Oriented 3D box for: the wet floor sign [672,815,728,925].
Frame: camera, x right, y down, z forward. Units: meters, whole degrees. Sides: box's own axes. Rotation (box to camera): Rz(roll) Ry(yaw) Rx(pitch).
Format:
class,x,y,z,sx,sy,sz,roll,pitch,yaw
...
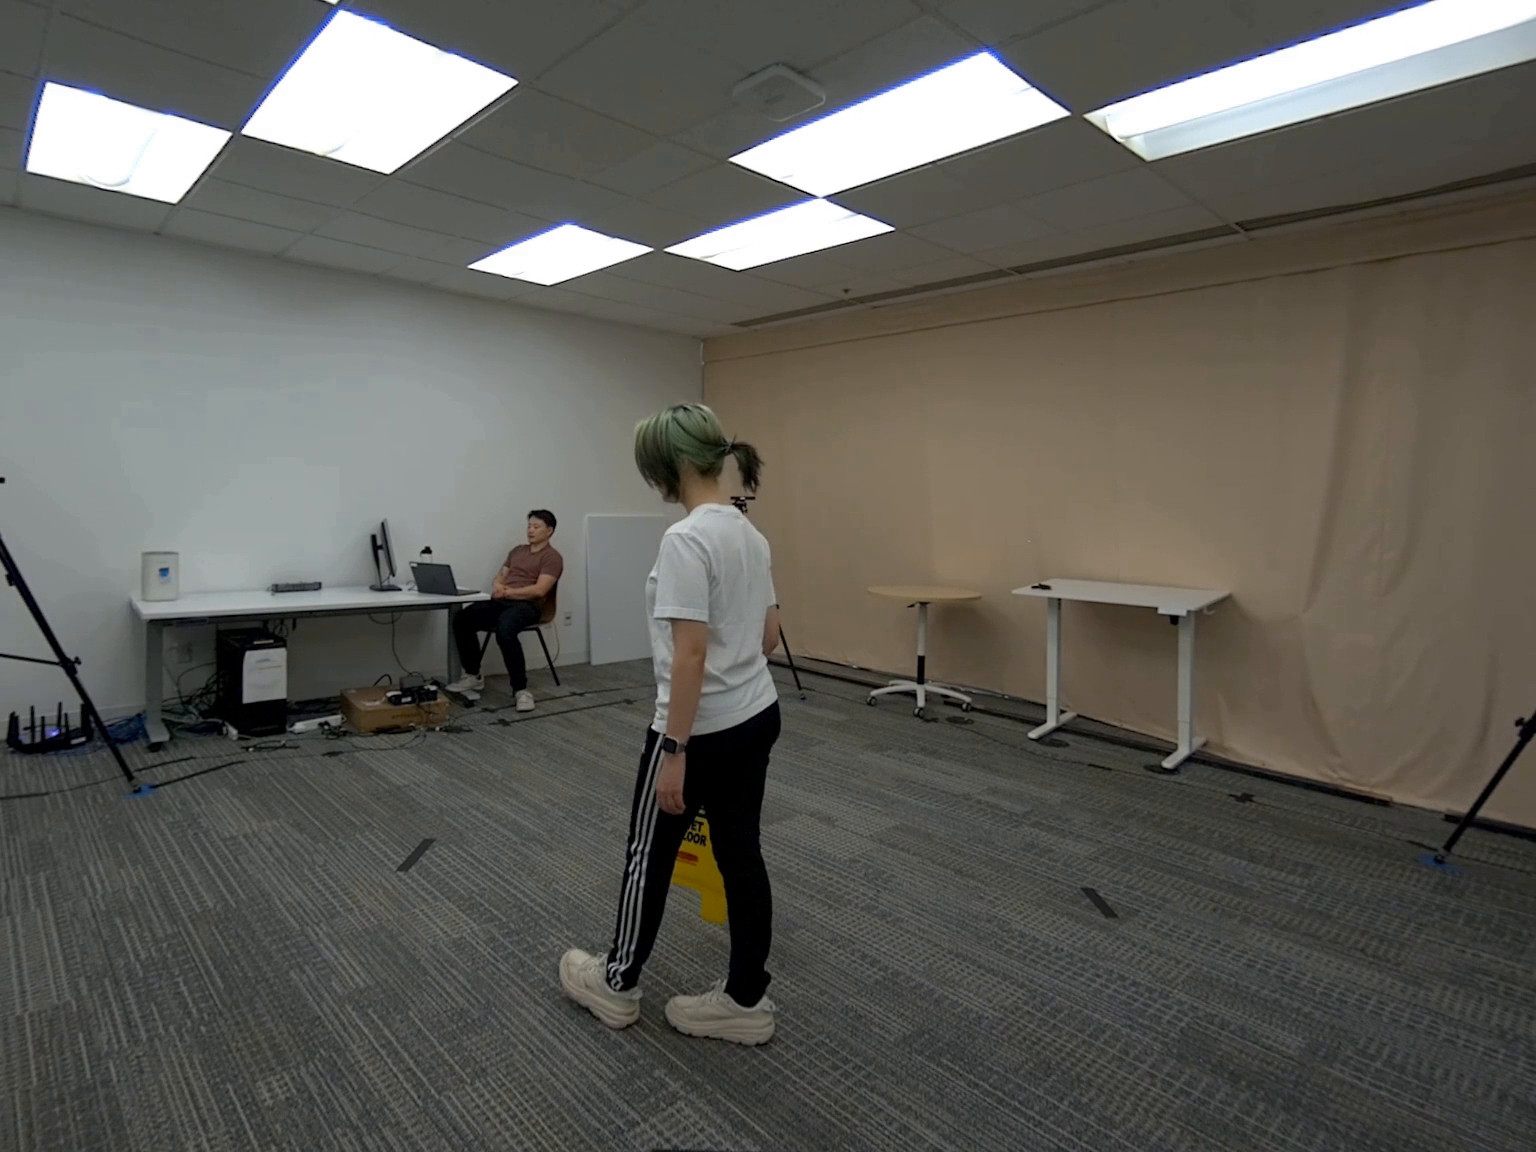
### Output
class,x,y,z,sx,sy,sz,roll,pitch,yaw
wet floor sign,-0.189,0.654,2.516,0.287,0.643,0.286,8,6,17
